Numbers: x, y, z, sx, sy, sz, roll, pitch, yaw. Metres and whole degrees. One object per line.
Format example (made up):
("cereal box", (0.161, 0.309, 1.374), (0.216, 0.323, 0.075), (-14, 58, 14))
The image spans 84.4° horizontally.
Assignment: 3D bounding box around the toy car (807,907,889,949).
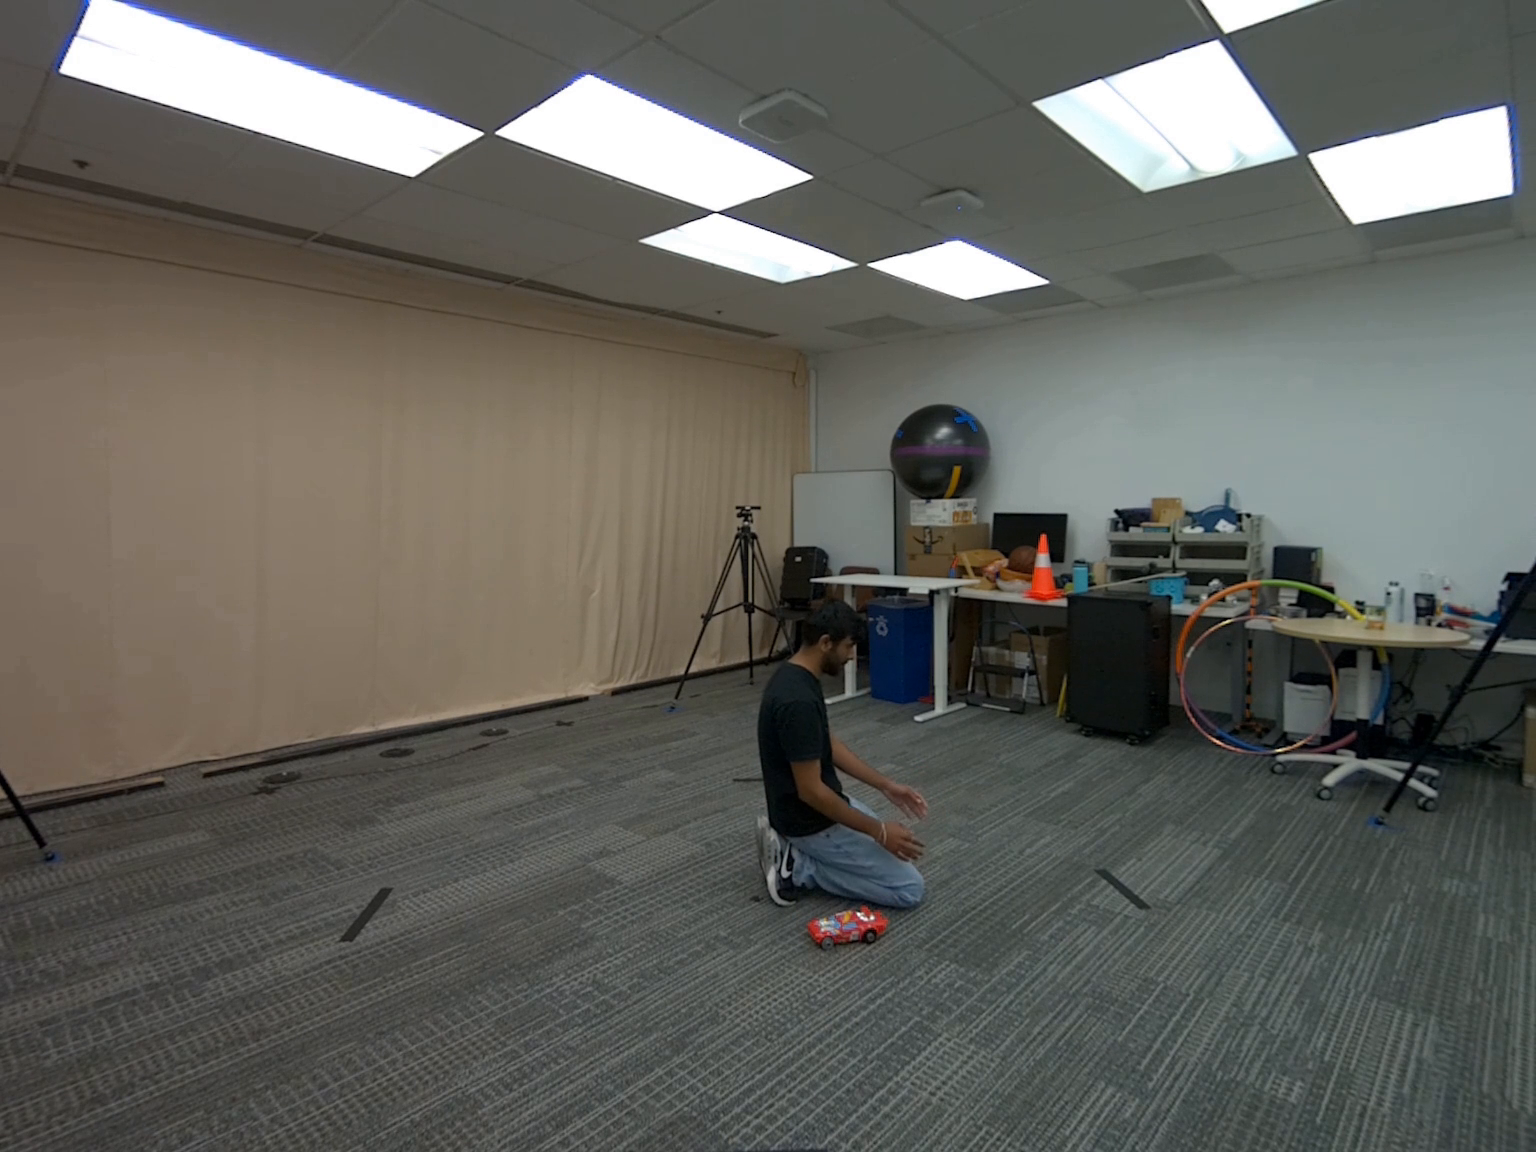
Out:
("toy car", (0.262, 1.127, 2.714), (0.251, 0.083, 0.133), (-13, 8, -14))
